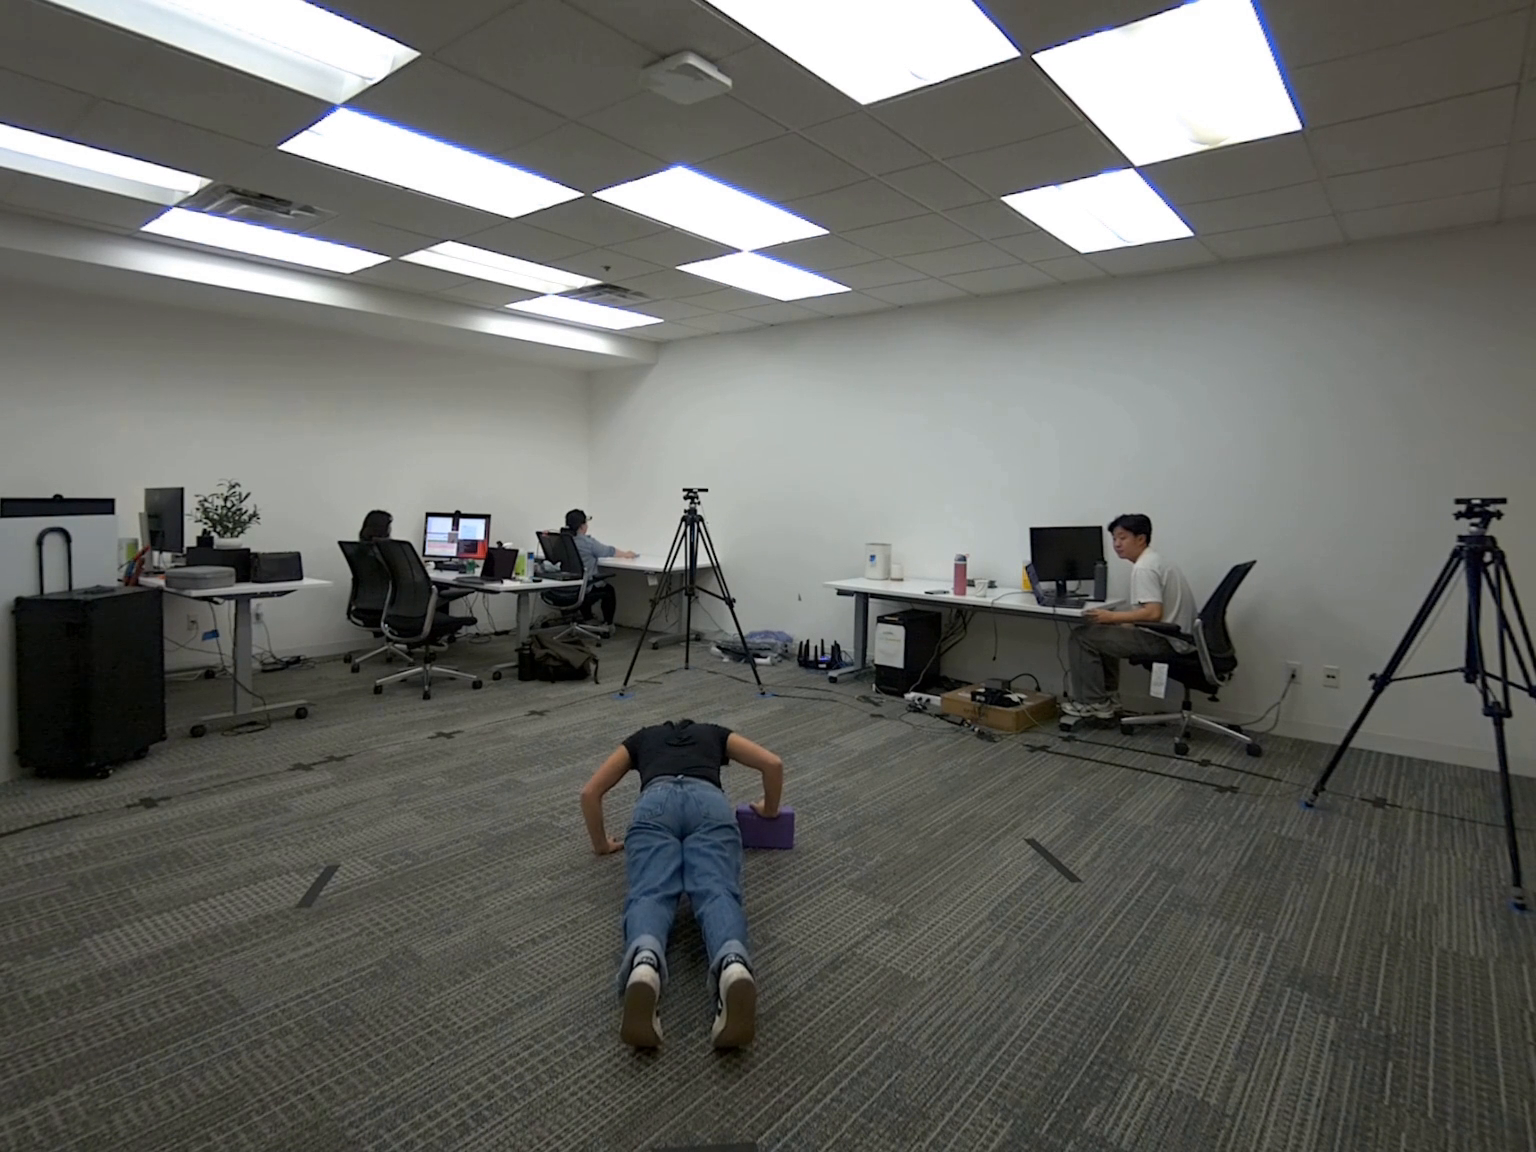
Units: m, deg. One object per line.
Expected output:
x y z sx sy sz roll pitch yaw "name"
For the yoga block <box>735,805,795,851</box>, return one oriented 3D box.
-0.013 0.978 3.326 0.229 0.148 0.077 0 5 0 "yoga block"
